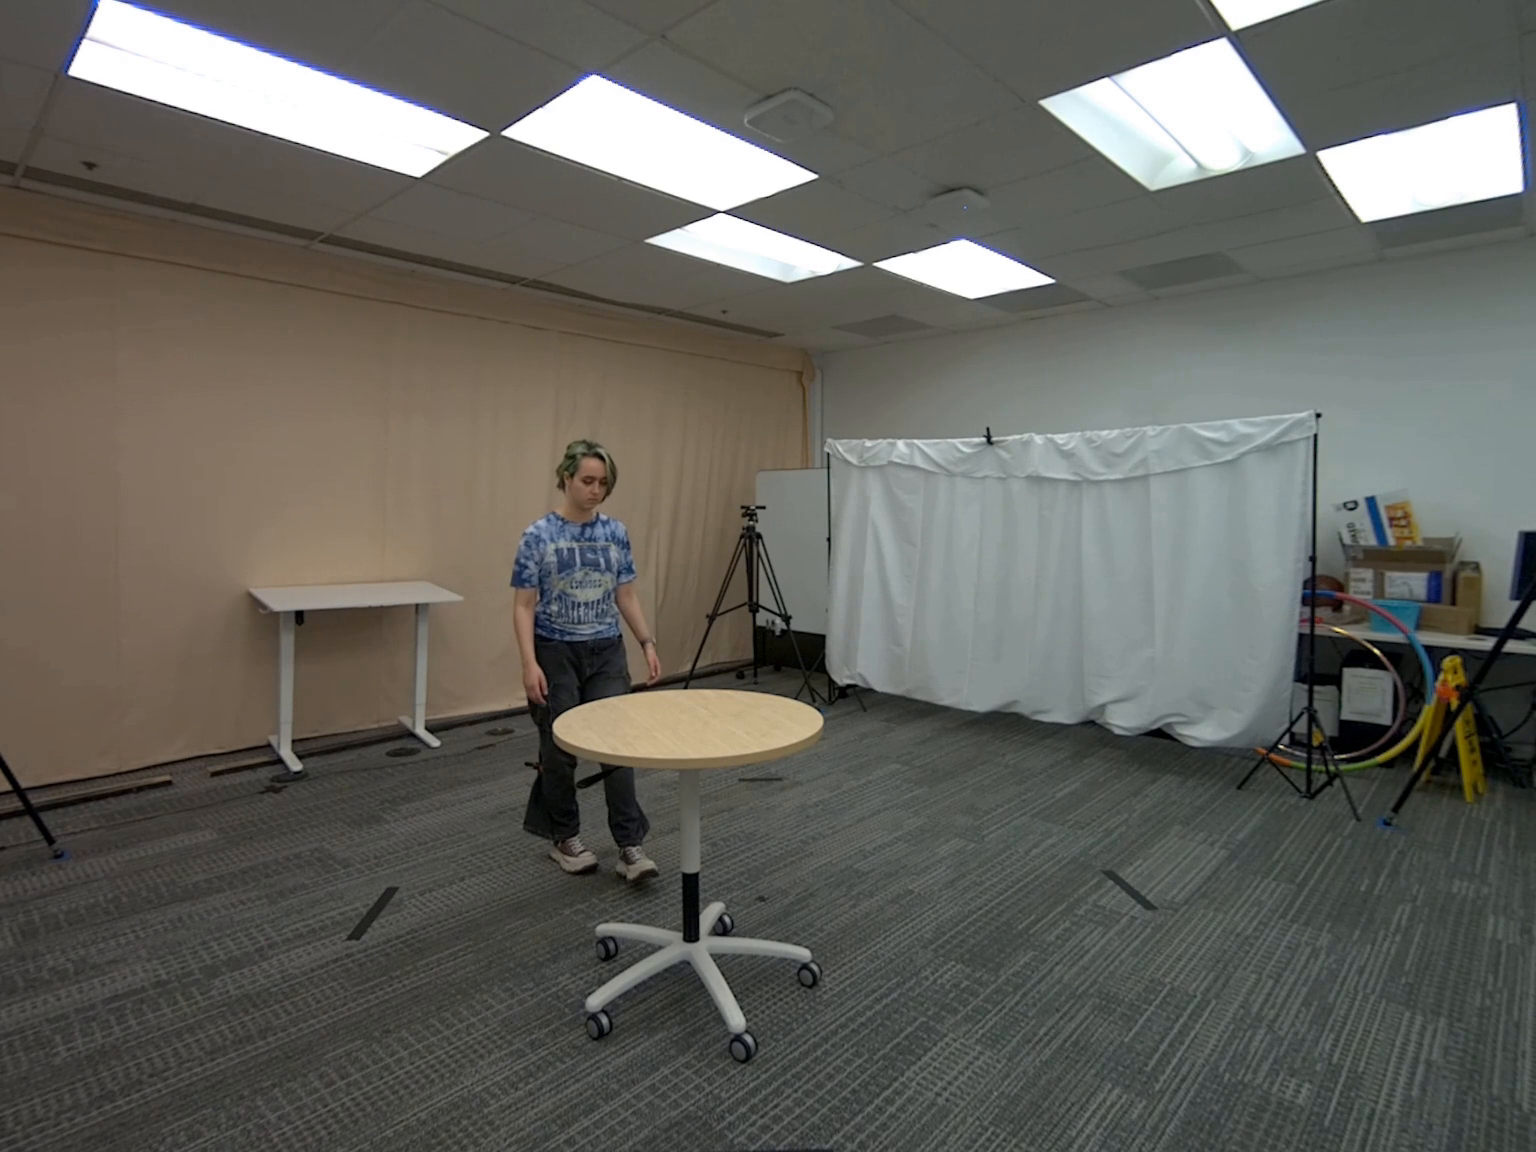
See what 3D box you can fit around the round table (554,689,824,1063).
[{"bbox_3d":[-0.221,0.806,2.415,0.763,0.792,0.766,-1,3,-2],"label":"round table"}]
